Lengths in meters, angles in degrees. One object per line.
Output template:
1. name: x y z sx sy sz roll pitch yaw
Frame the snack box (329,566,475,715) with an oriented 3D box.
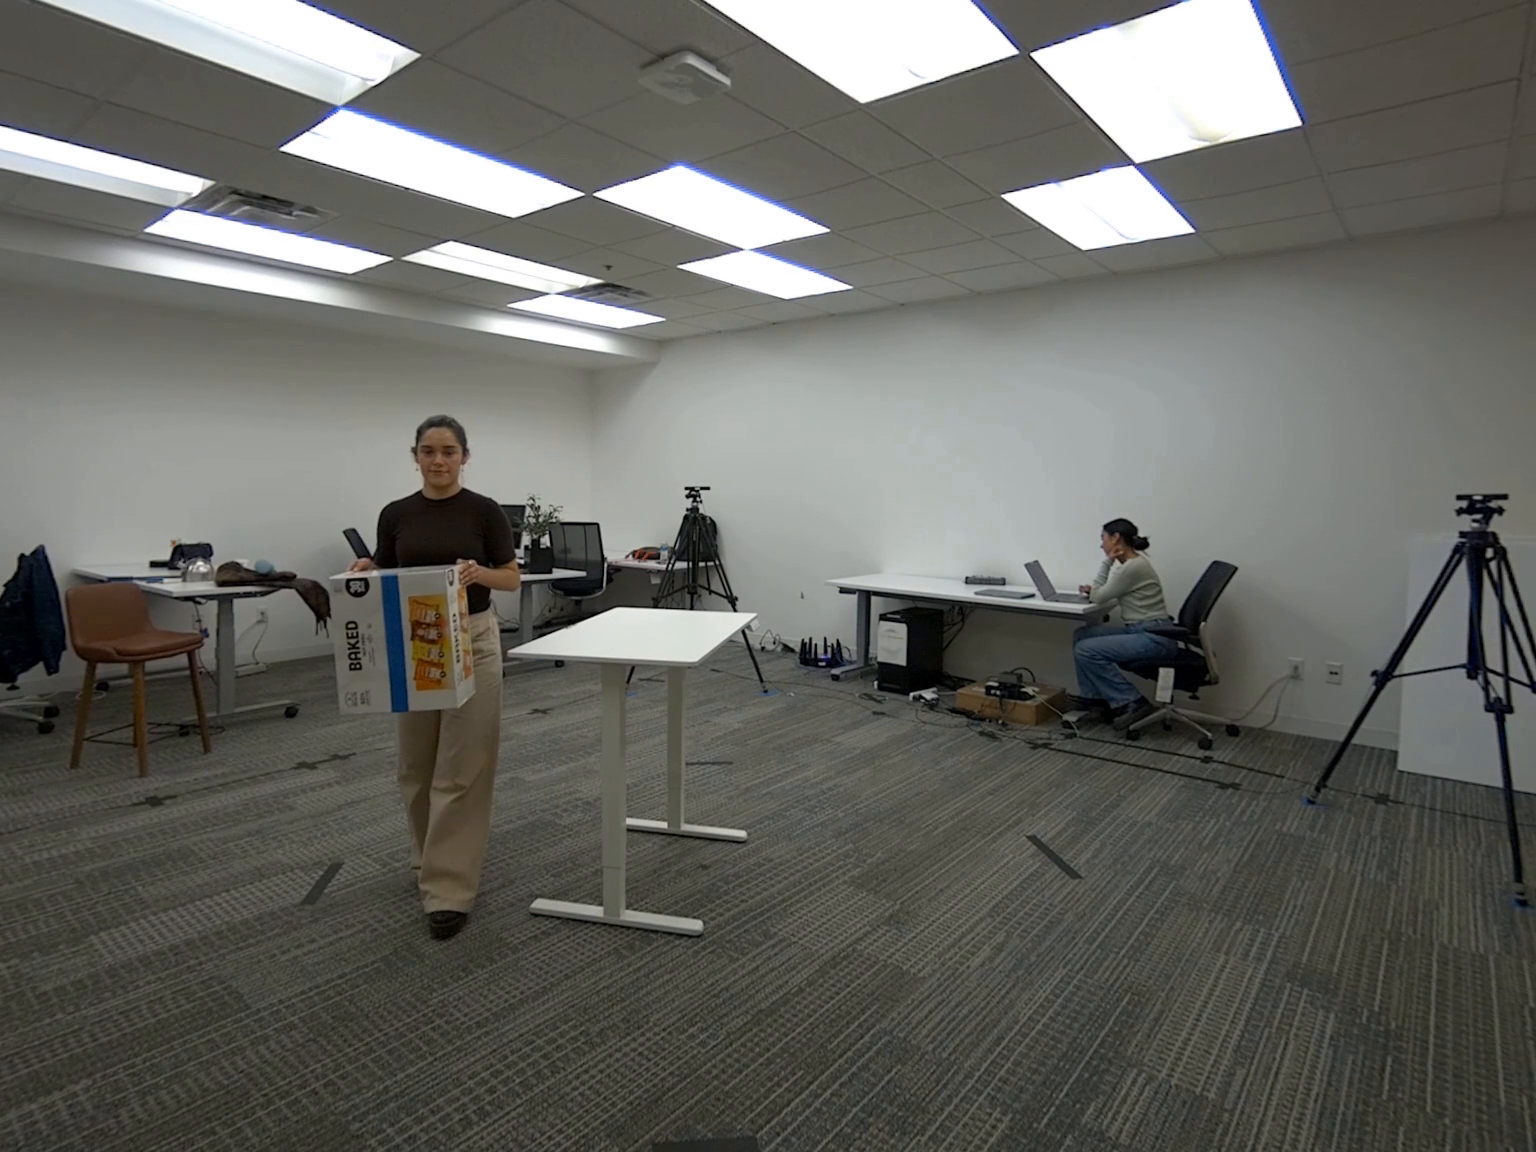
1. snack box: -1.101 0.177 2.548 0.340 0.403 0.207 -3 4 -2
